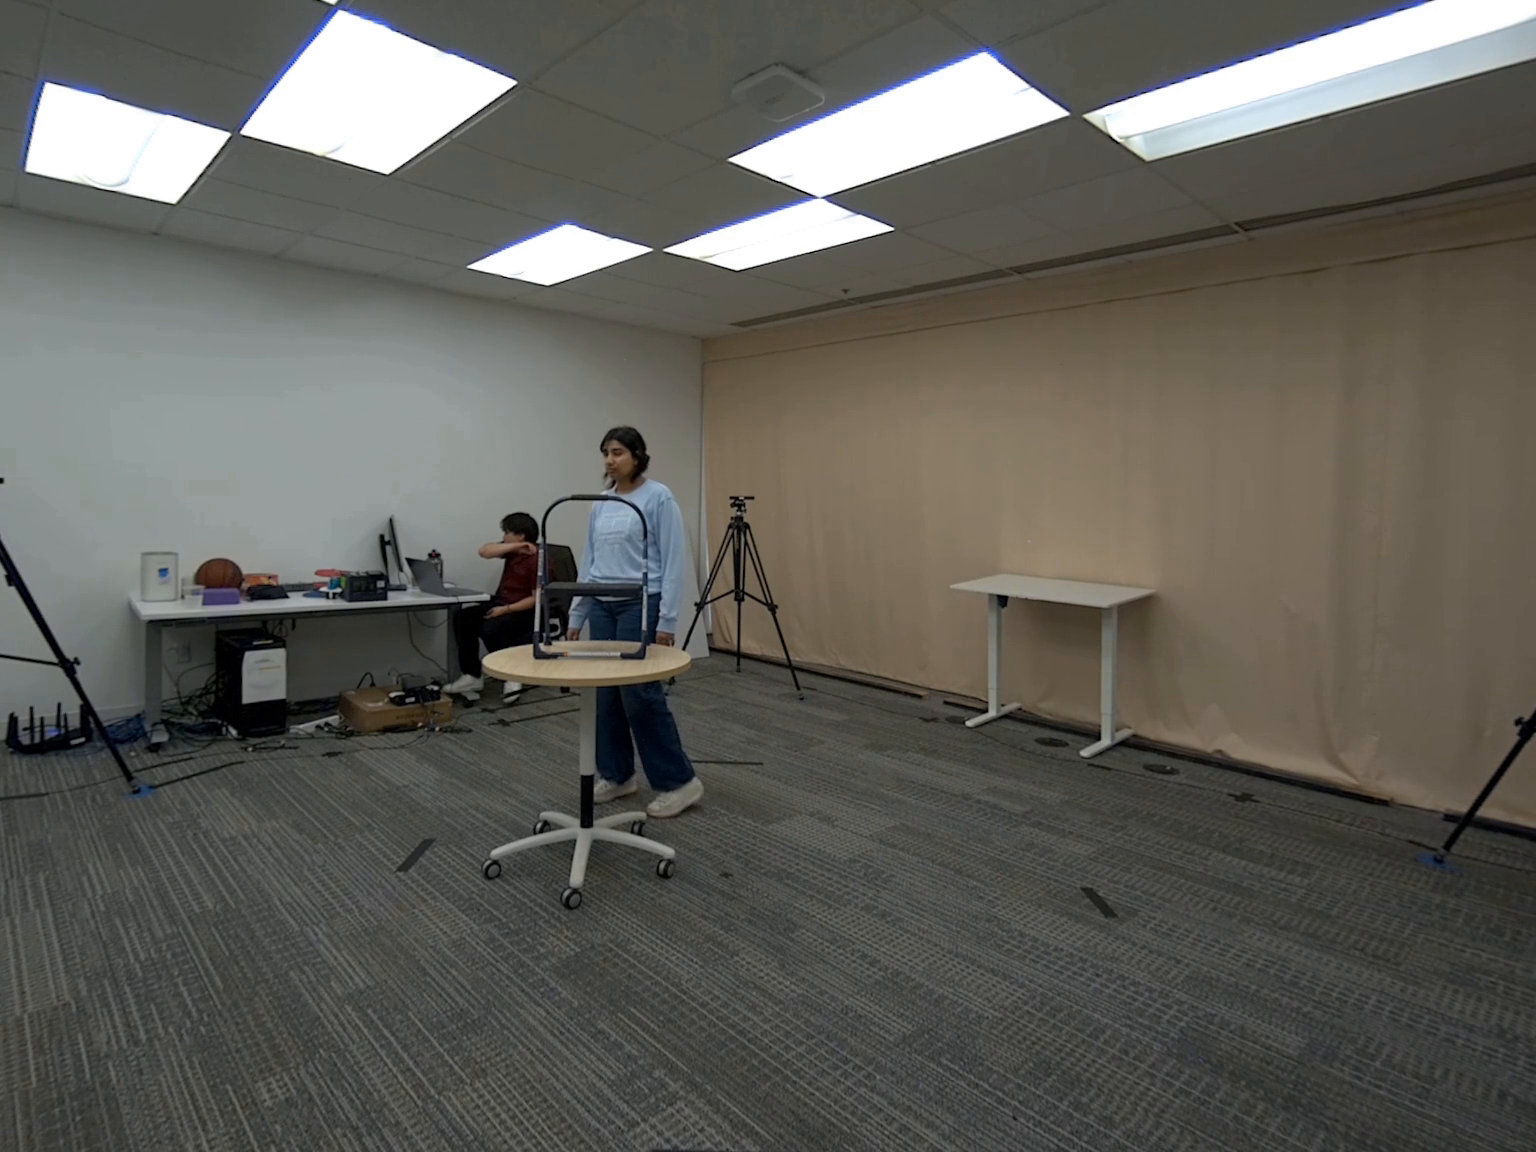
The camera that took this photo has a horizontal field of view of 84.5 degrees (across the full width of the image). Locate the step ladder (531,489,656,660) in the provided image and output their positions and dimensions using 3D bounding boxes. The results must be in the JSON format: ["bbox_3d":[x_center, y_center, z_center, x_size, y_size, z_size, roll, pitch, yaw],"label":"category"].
[{"bbox_3d":[-0.685,-0.010,3.256,0.429,0.605,0.351,1,2,-6],"label":"step ladder"}]
